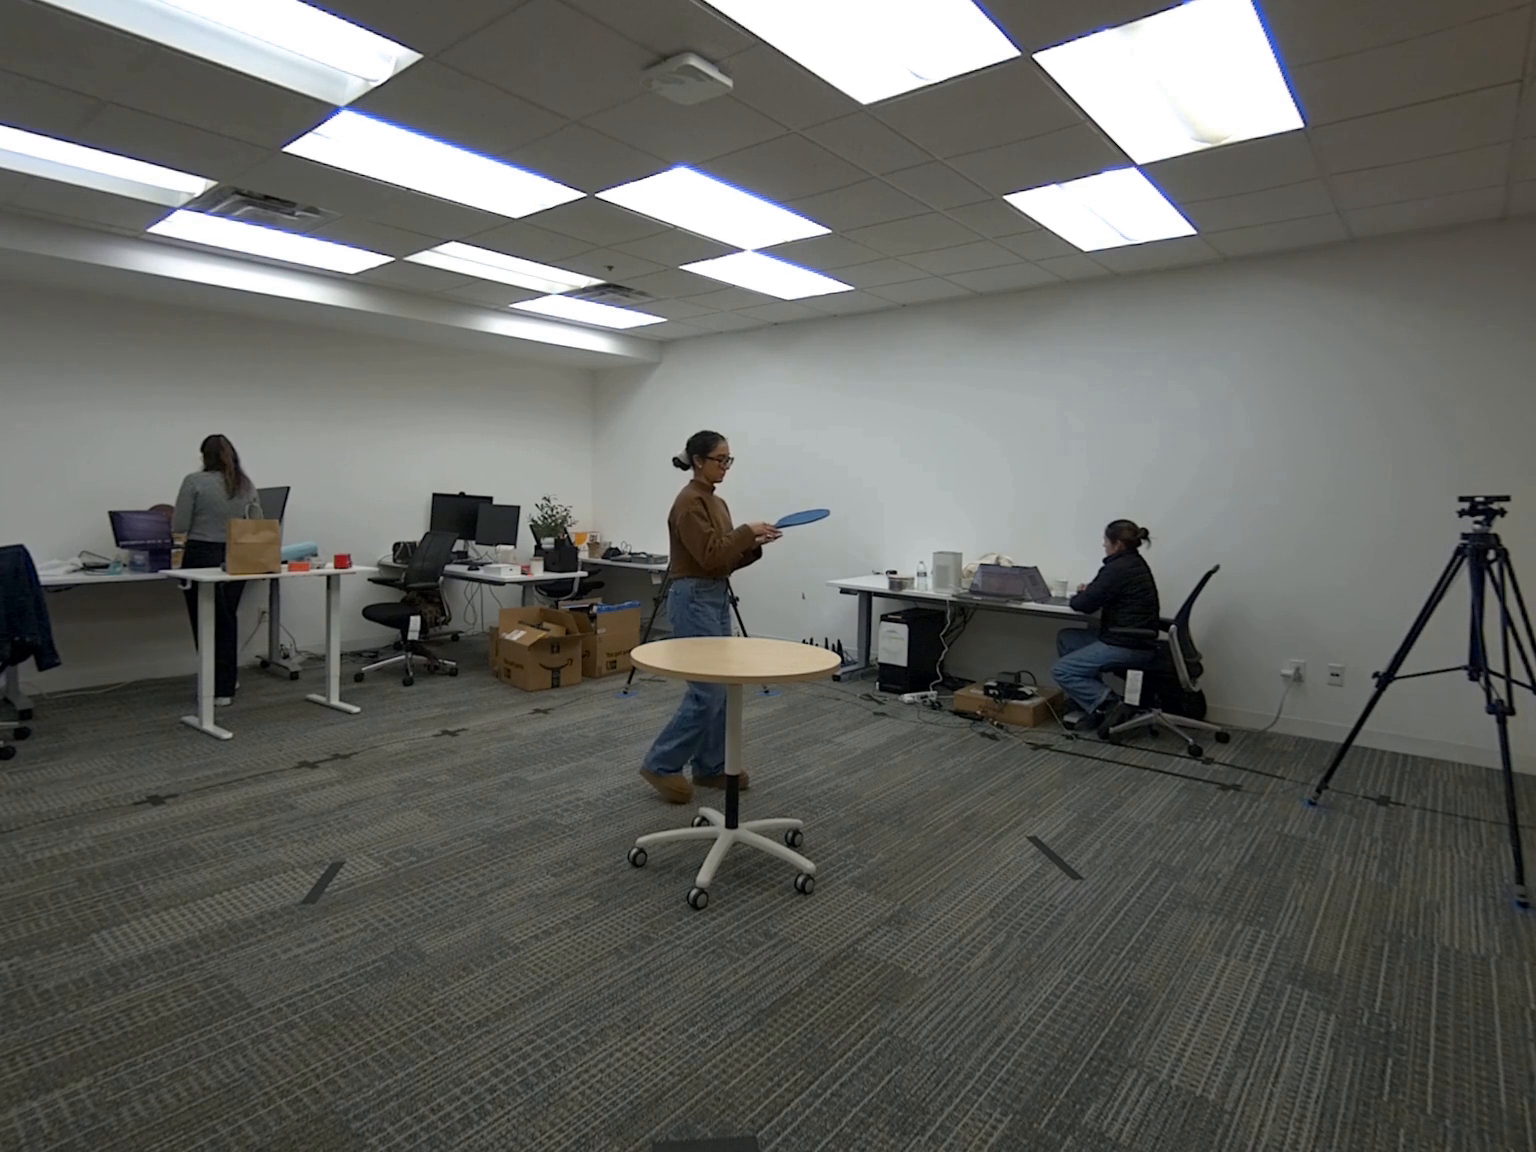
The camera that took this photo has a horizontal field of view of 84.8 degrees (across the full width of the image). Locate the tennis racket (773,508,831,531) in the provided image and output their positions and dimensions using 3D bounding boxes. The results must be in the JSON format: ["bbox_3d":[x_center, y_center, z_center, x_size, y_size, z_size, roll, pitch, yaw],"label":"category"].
[{"bbox_3d":[0.071,-0.244,3.896,0.426,0.031,0.221,-19,19,-26],"label":"tennis racket"}]
